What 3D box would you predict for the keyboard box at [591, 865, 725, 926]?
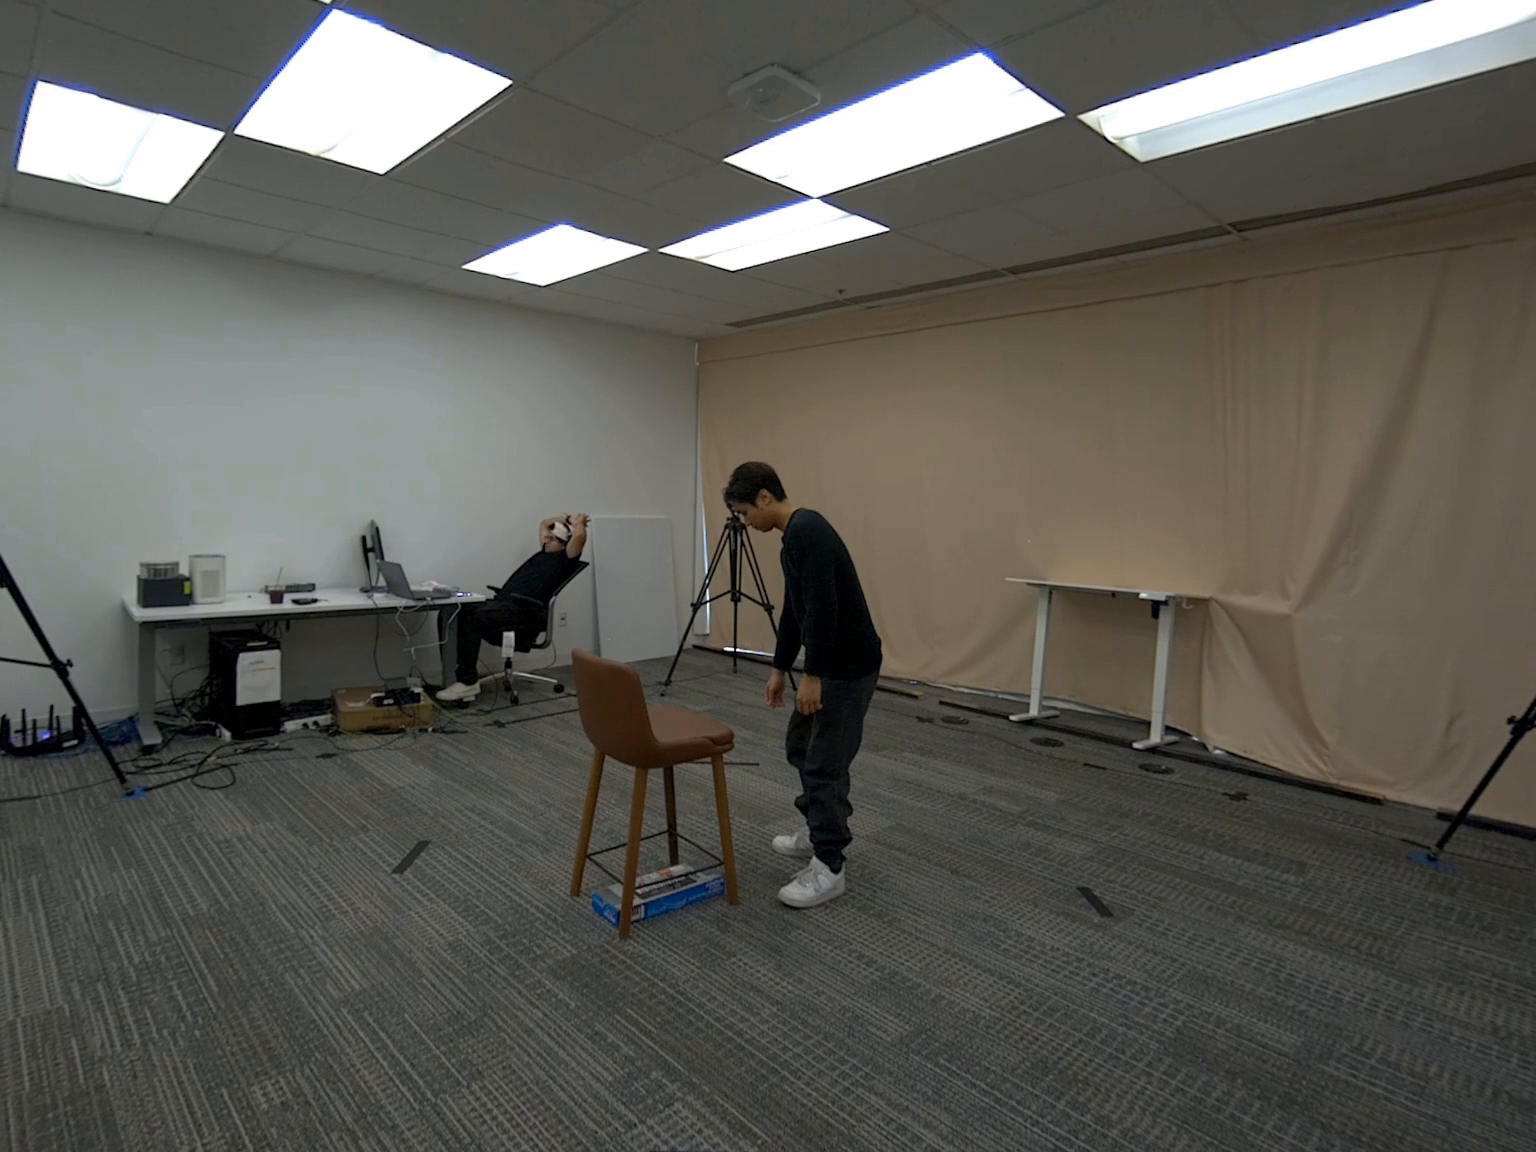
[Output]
[{"bbox_3d":[-0.385,1.099,2.904,0.427,0.059,0.180,-2,3,-39],"label":"keyboard box"}]
